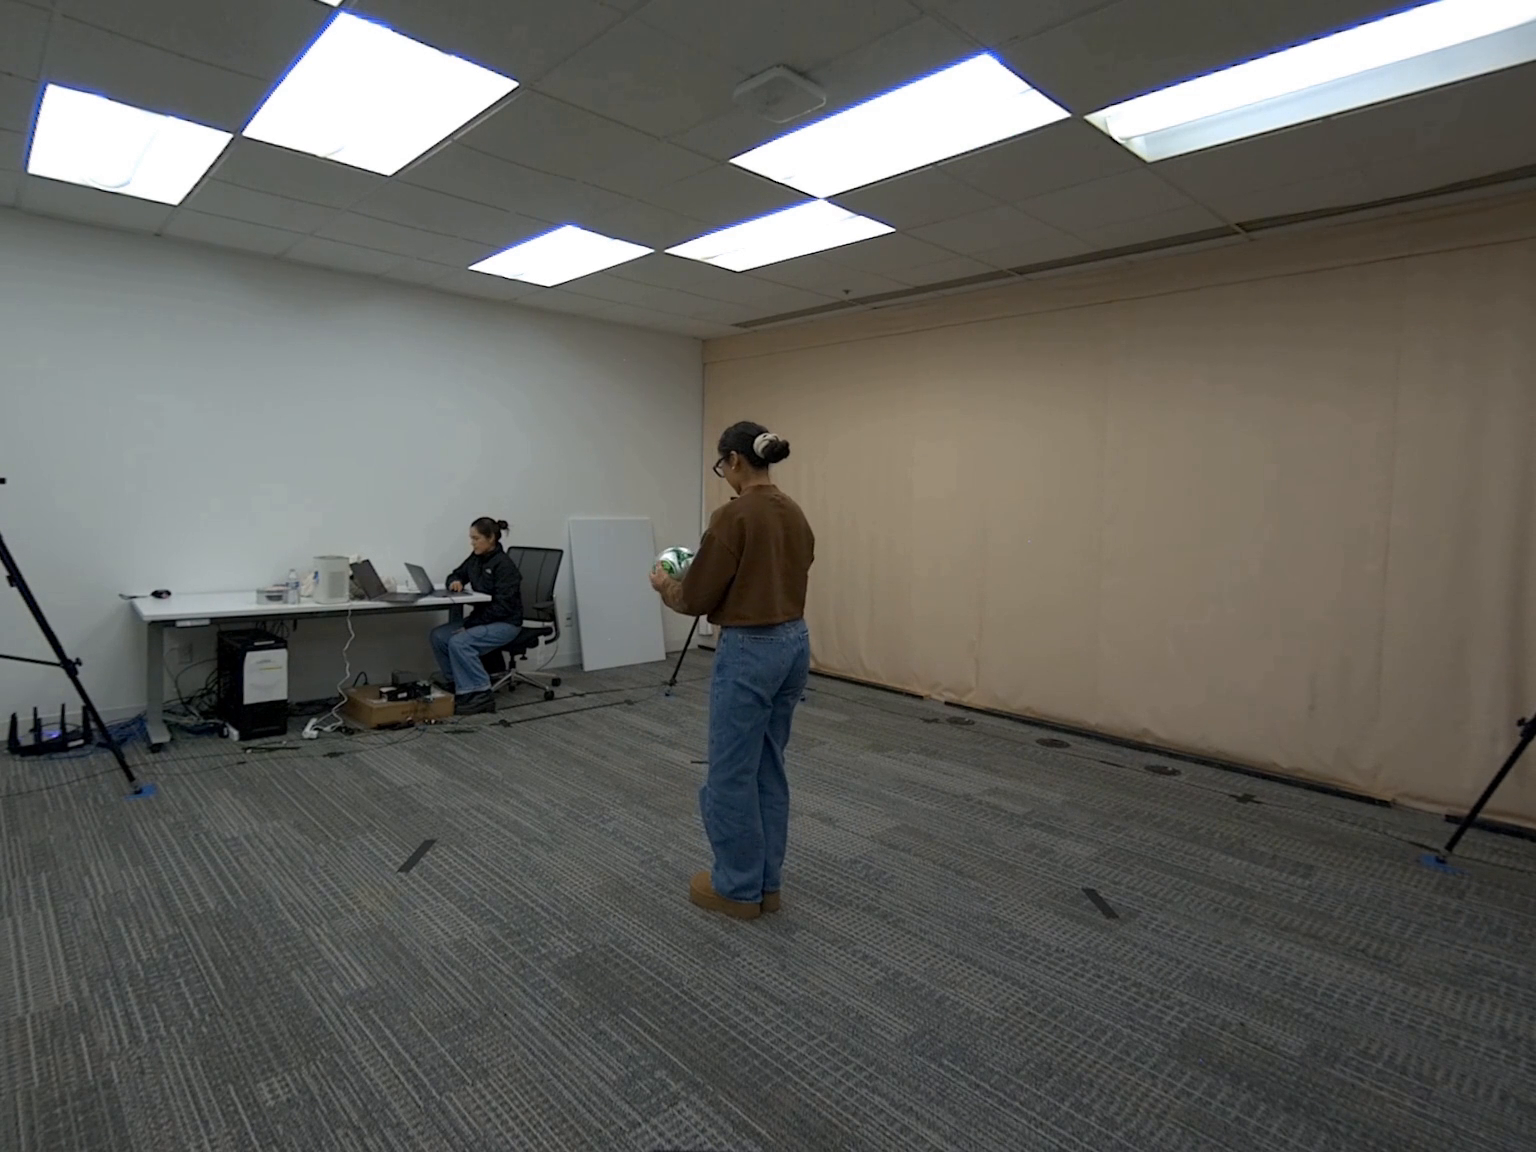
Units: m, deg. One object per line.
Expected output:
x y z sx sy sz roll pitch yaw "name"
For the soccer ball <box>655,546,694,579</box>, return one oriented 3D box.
-0.340 -0.011 3.066 0.187 0.187 0.188 1 4 -1 "soccer ball"
